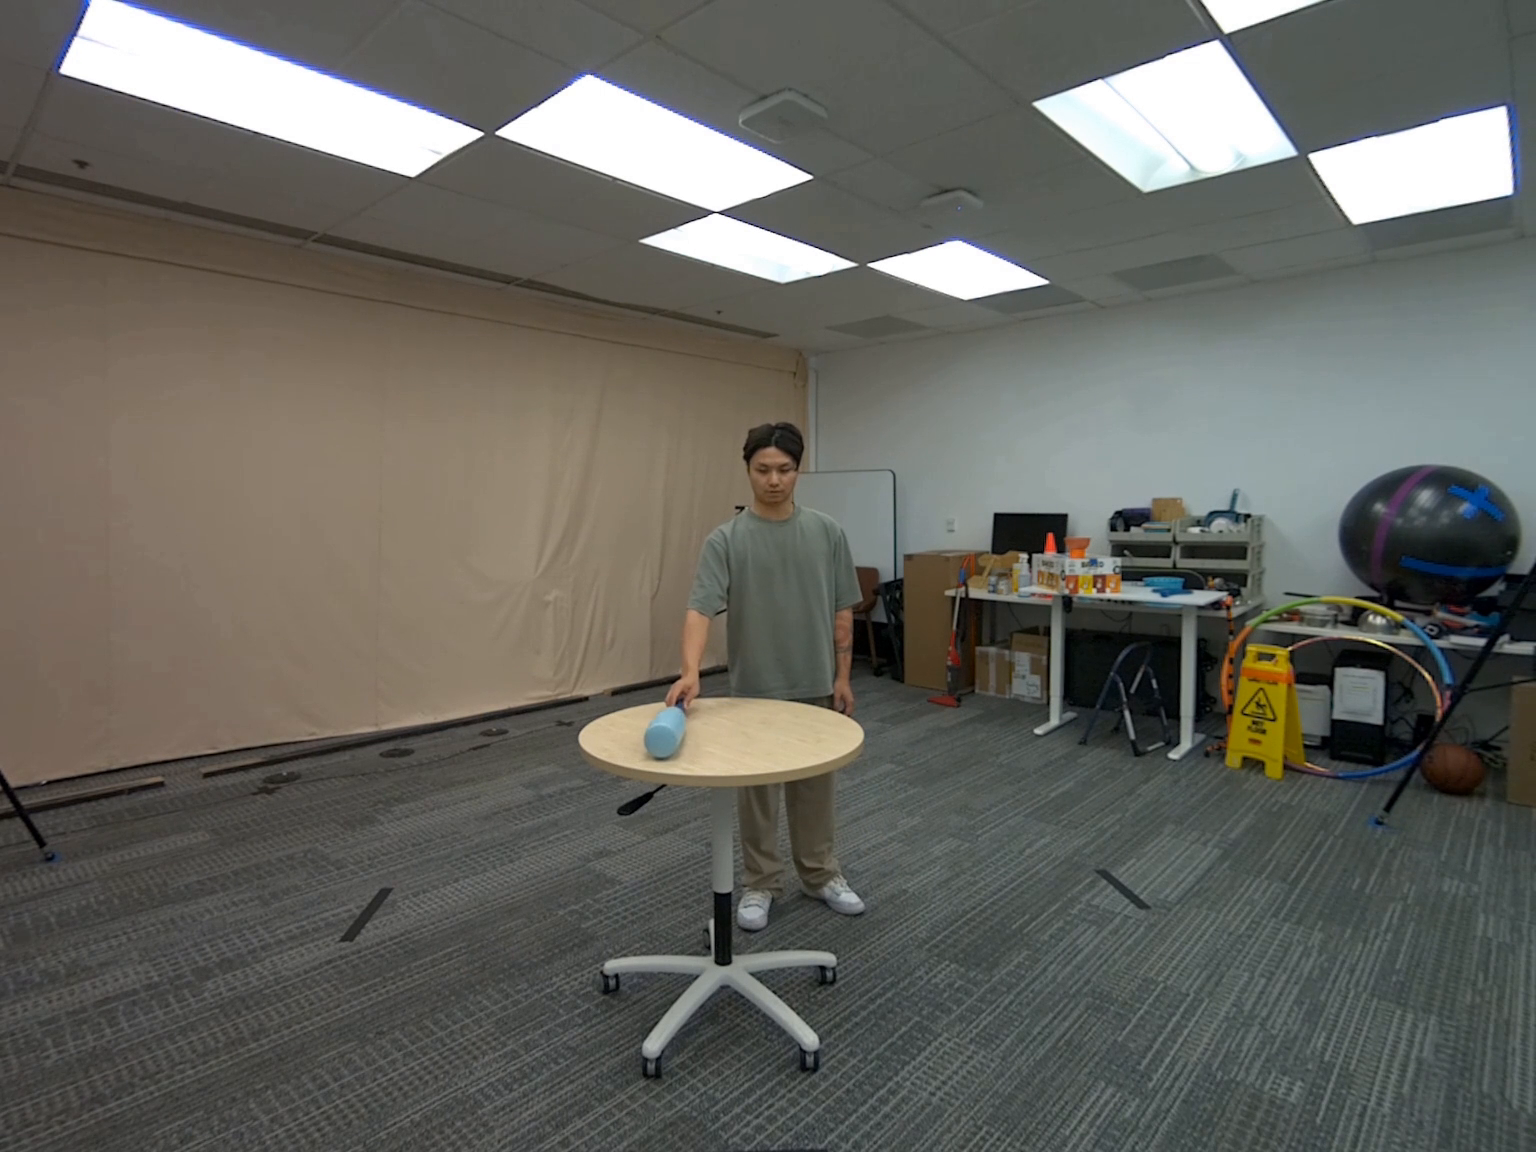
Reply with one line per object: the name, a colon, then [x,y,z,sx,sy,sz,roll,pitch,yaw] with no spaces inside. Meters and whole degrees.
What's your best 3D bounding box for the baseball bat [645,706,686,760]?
baseball bat: [-0.243,0.384,2.273,0.089,0.089,0.544,0,2,-3]
